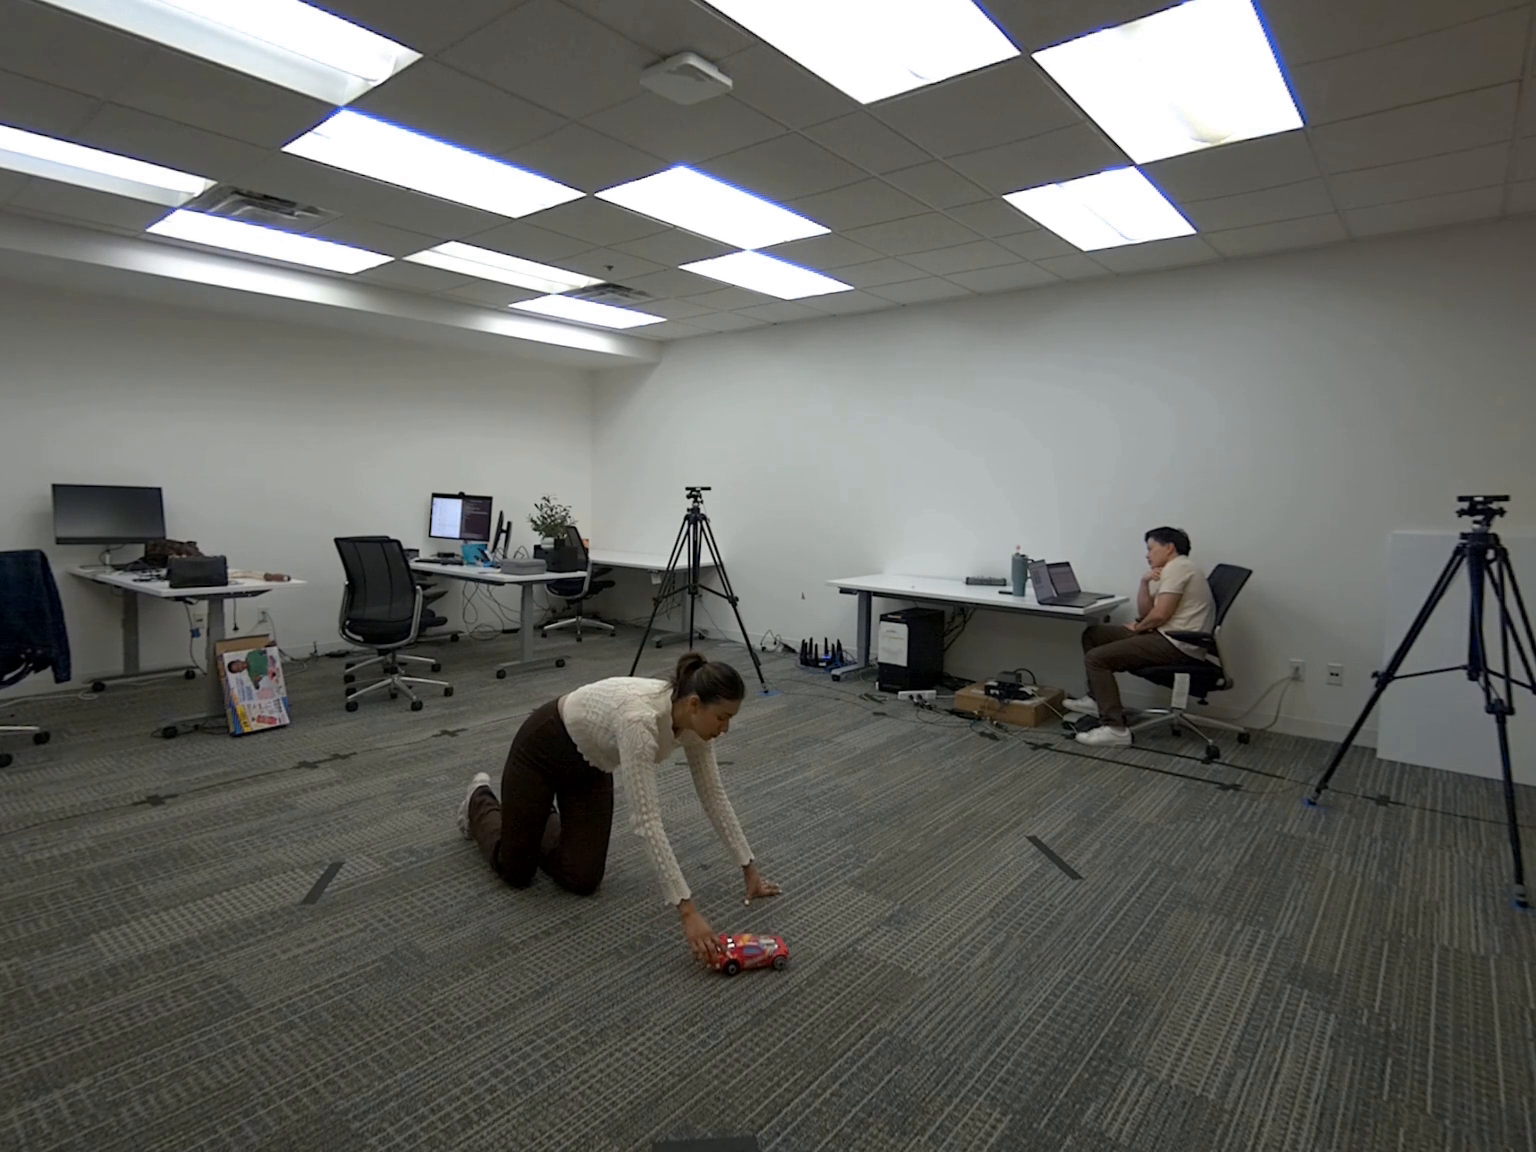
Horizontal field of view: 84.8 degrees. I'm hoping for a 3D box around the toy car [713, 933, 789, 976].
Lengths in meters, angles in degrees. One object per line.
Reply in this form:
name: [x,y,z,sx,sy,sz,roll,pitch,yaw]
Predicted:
toy car: [-0.076,1.102,2.482,0.250,0.083,0.133,10,3,-16]
